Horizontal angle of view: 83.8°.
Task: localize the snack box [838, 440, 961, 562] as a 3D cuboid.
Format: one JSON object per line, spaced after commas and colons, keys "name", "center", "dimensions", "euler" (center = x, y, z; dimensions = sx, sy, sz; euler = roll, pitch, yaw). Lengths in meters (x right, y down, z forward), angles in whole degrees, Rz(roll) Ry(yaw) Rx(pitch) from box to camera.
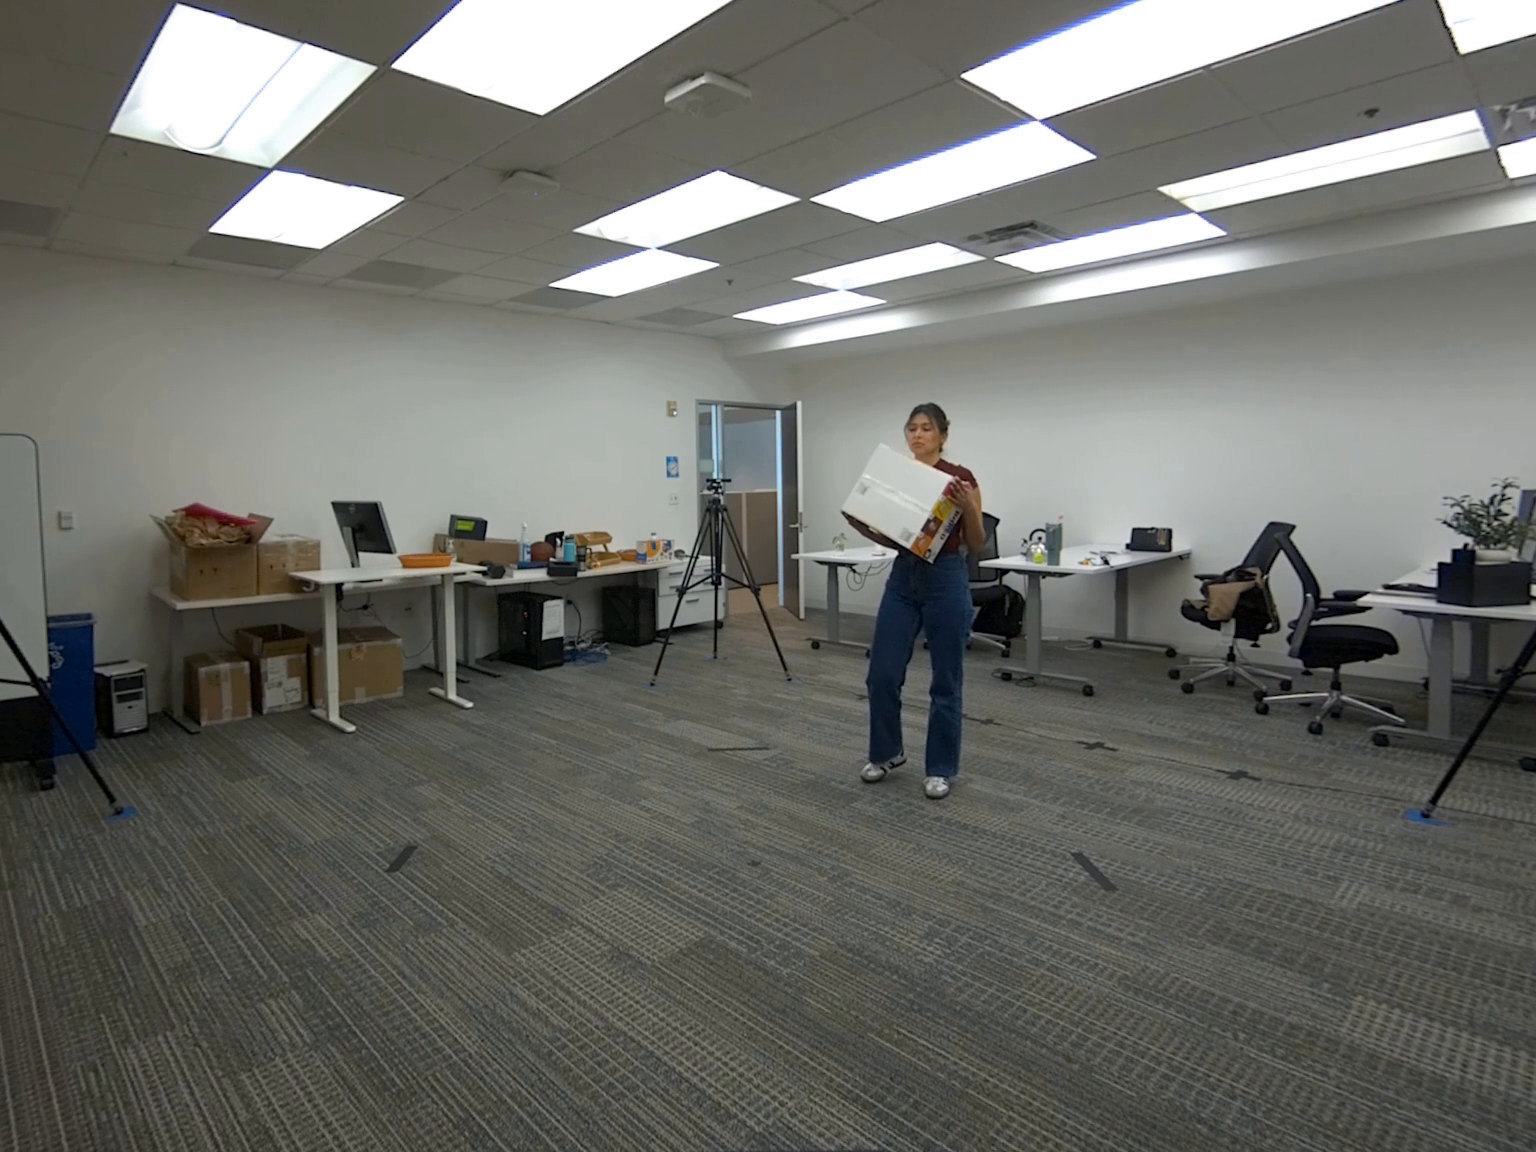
{"name": "snack box", "center": [0.578, -0.315, 3.603], "dimensions": [0.421, 0.340, 0.198], "euler": [35, 7, 41]}
